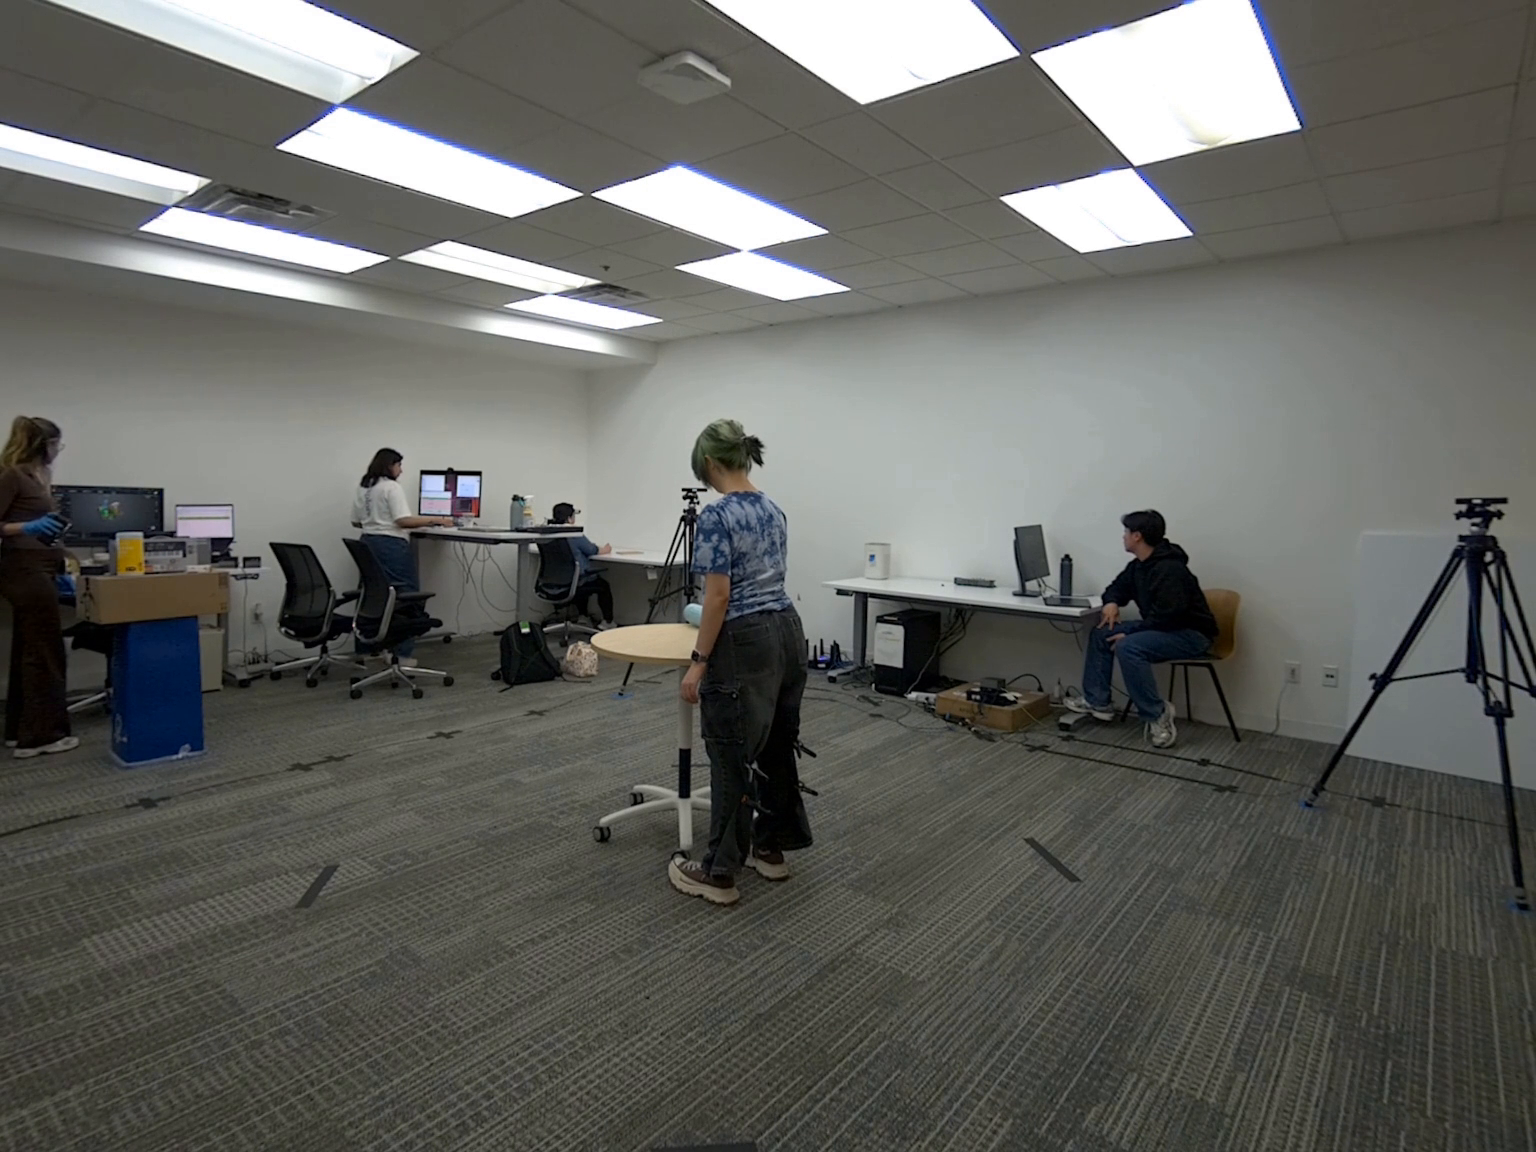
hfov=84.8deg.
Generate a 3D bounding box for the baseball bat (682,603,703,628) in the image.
[{"bbox_3d":[-0.194,0.205,3.574,0.086,0.088,0.562,-2,10,-34],"label":"baseball bat"}]
